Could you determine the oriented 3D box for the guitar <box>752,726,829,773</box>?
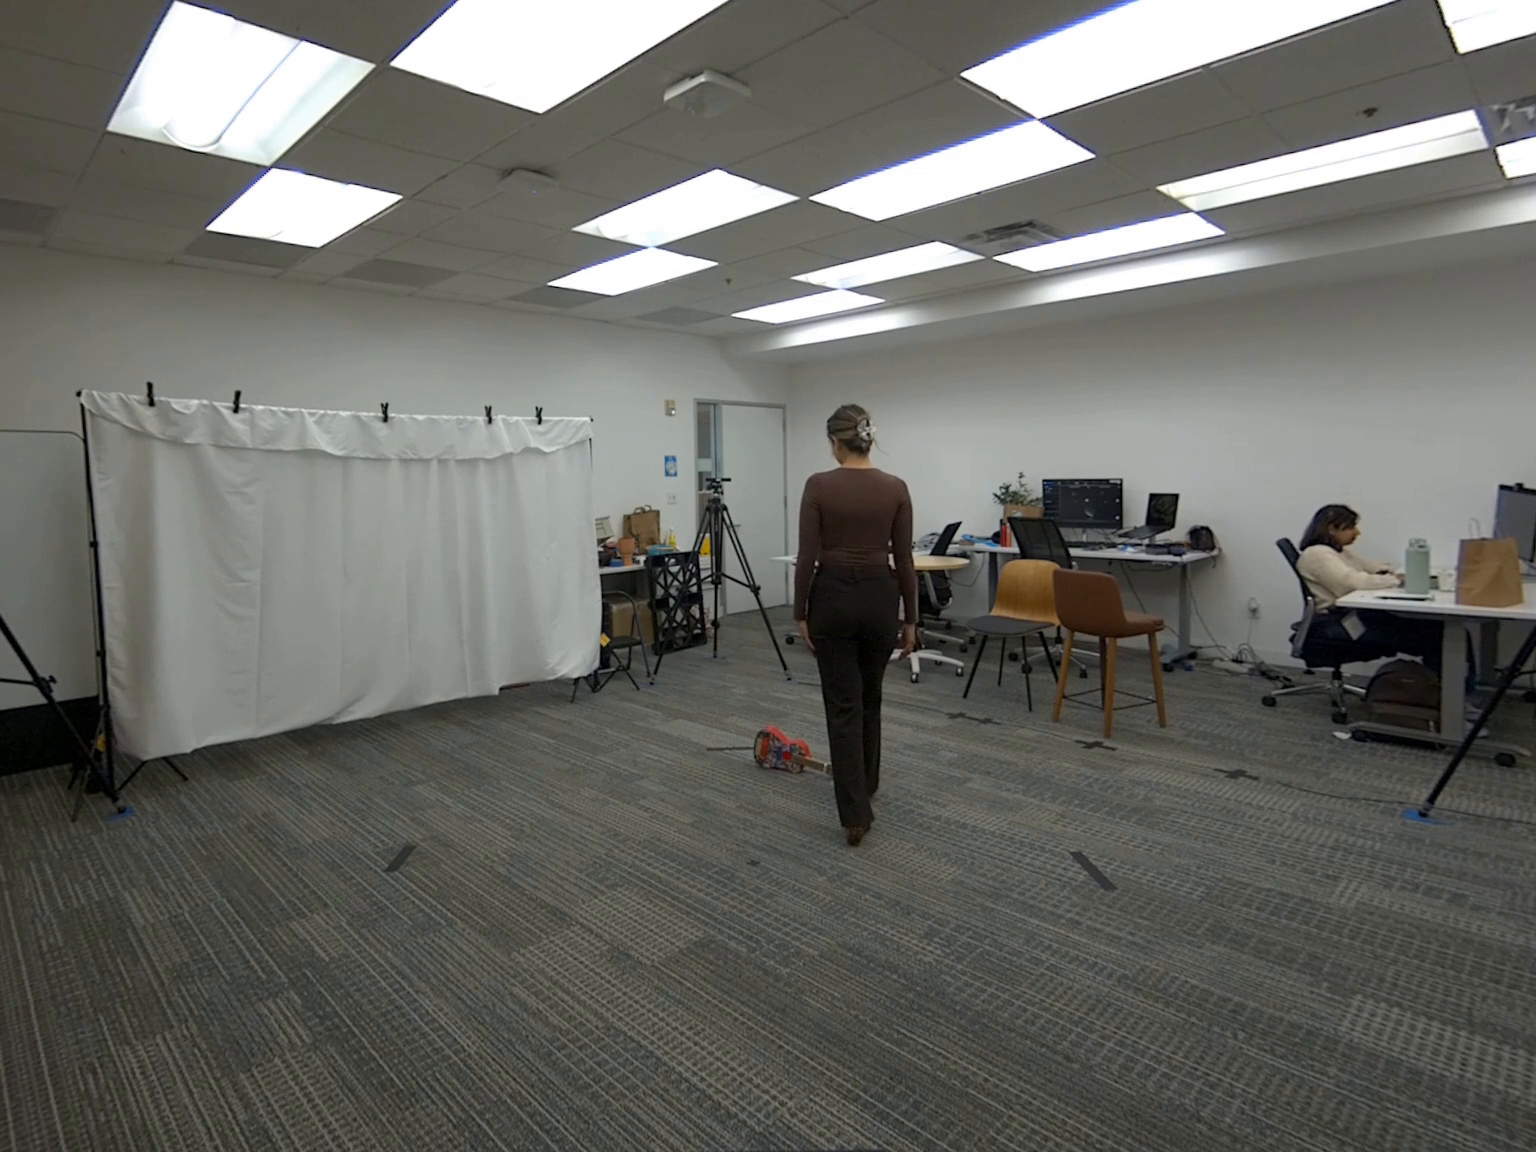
[{"bbox_3d":[0.161,0.895,4.059,0.511,0.191,0.069,22,14,23],"label":"guitar"}]
